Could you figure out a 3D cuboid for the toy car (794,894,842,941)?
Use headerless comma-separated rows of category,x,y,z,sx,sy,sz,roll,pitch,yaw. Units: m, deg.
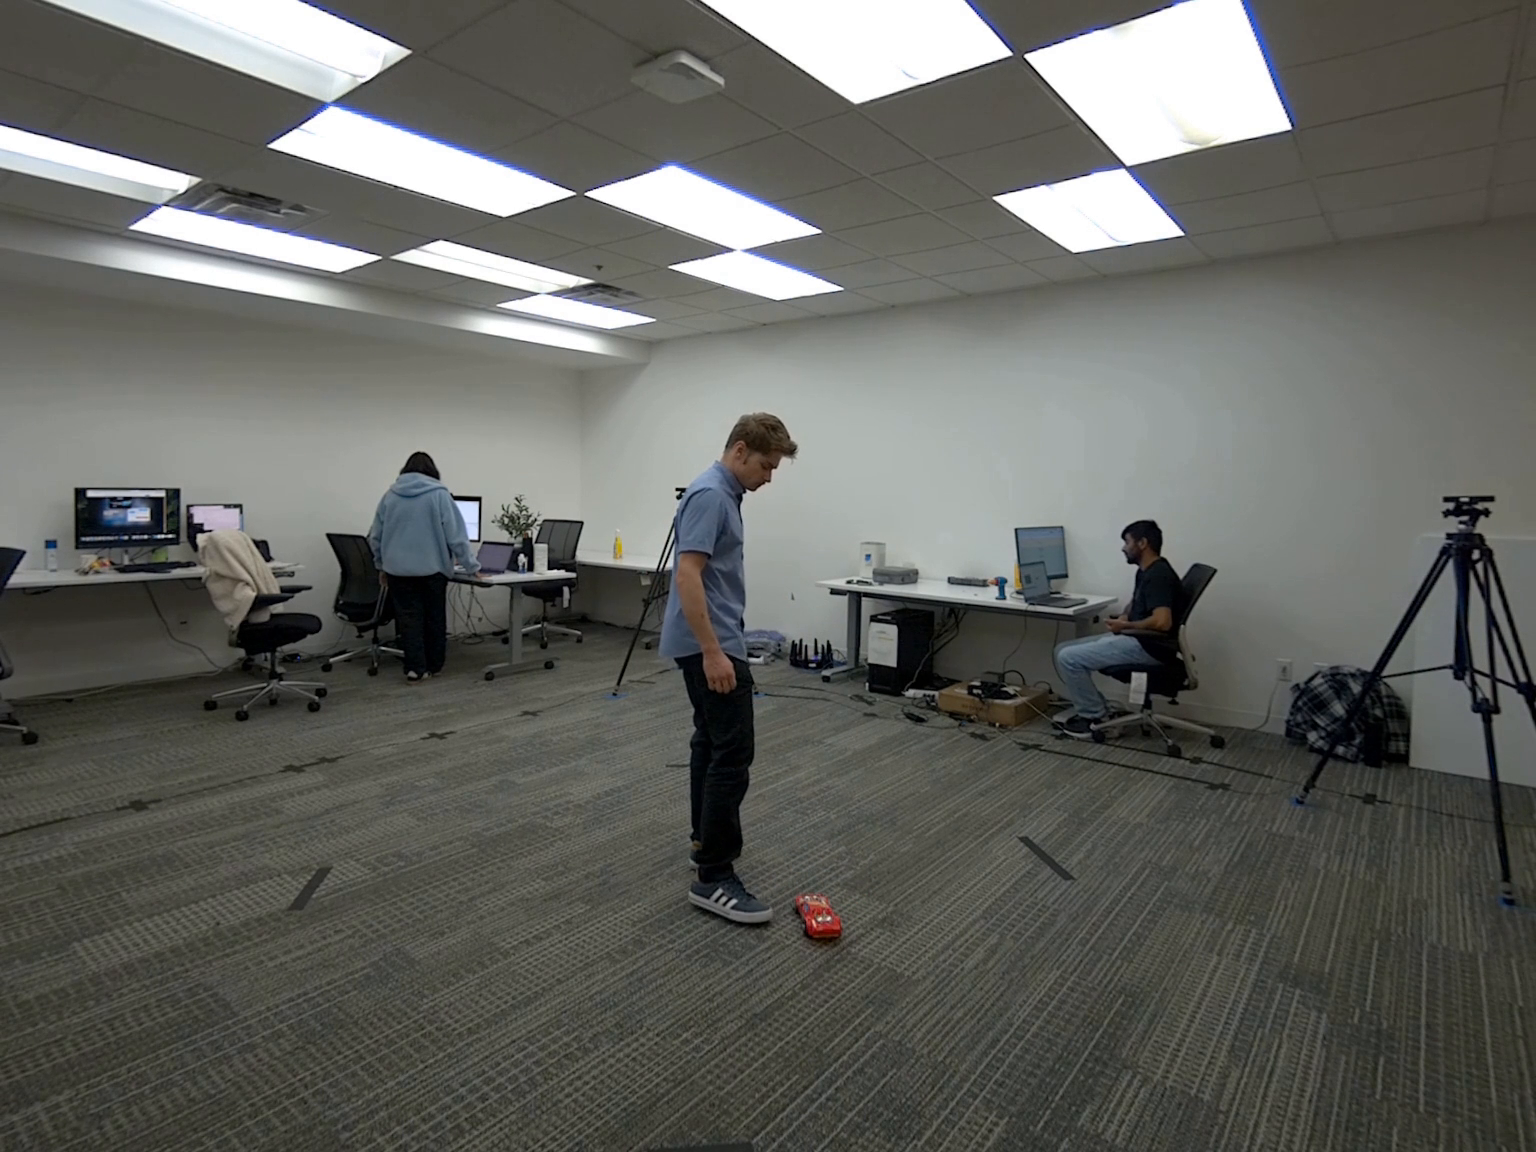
toy car,0.151,1.081,2.705,0.129,0.084,0.255,0,-6,-11
